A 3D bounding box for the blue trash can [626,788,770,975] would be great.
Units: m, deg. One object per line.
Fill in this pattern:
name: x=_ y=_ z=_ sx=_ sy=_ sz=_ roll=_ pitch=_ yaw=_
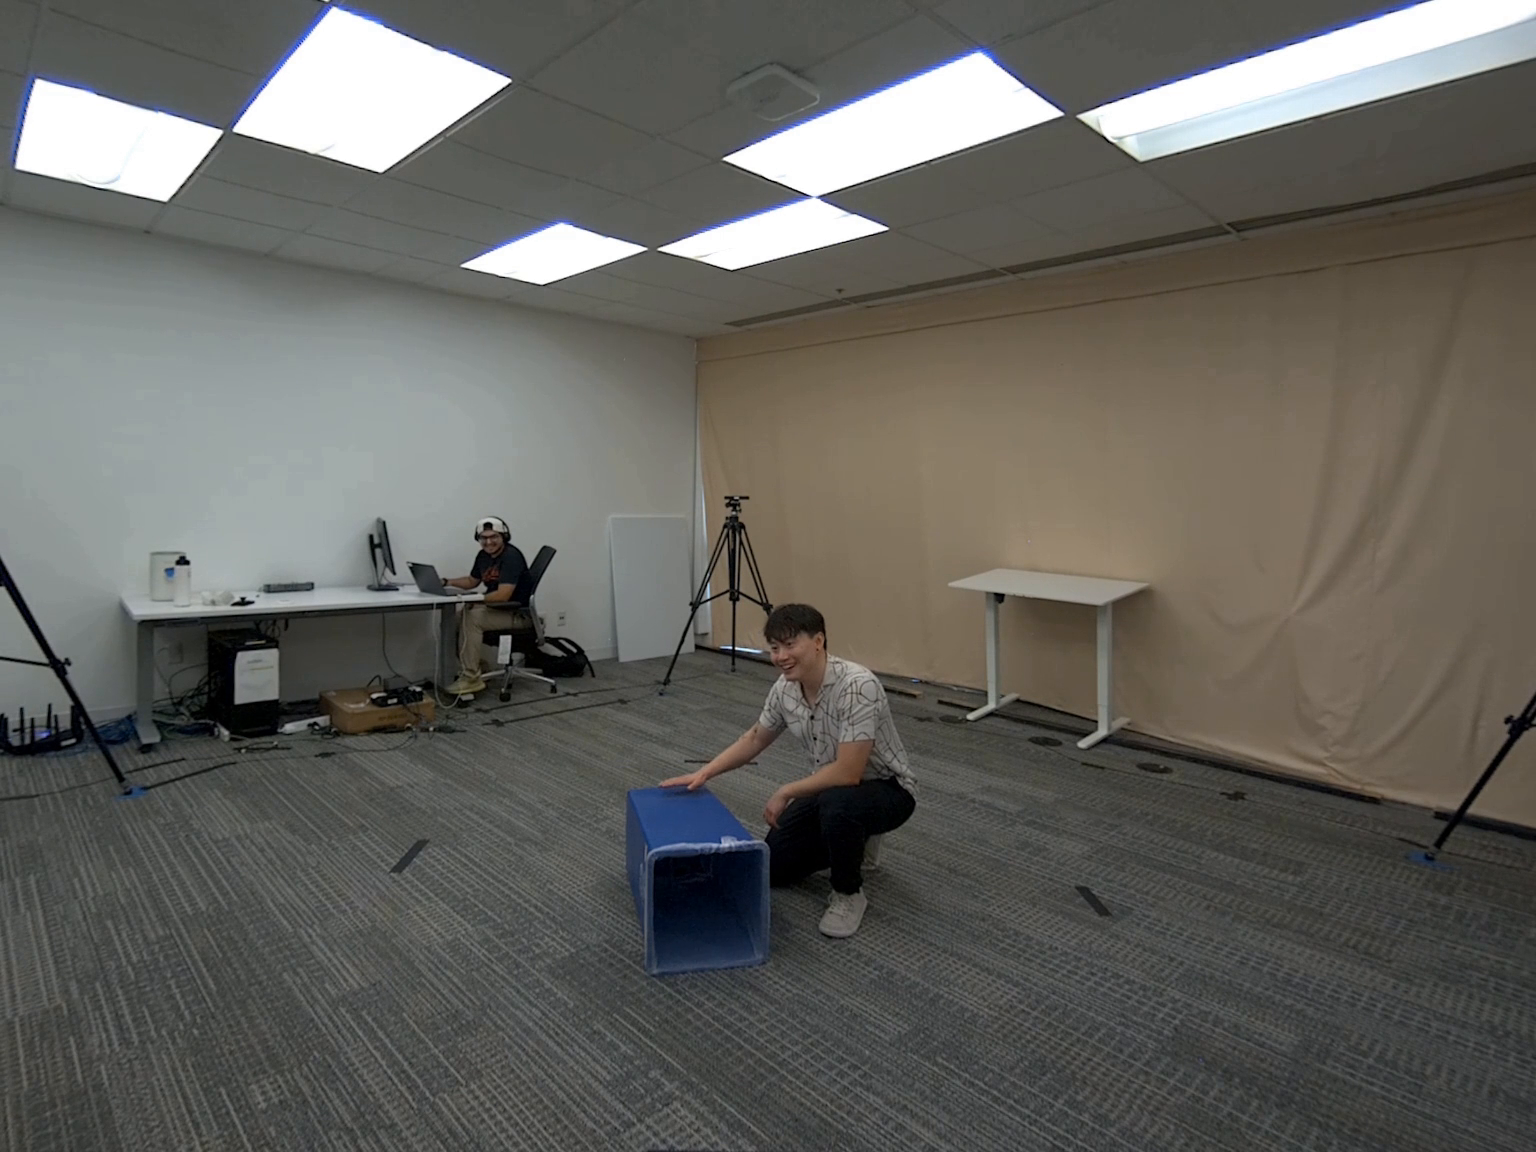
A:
blue trash can: x=-0.273 y=0.958 z=2.808 sx=0.373 sy=0.374 sz=0.723 roll=1 pitch=1 yaw=-16
